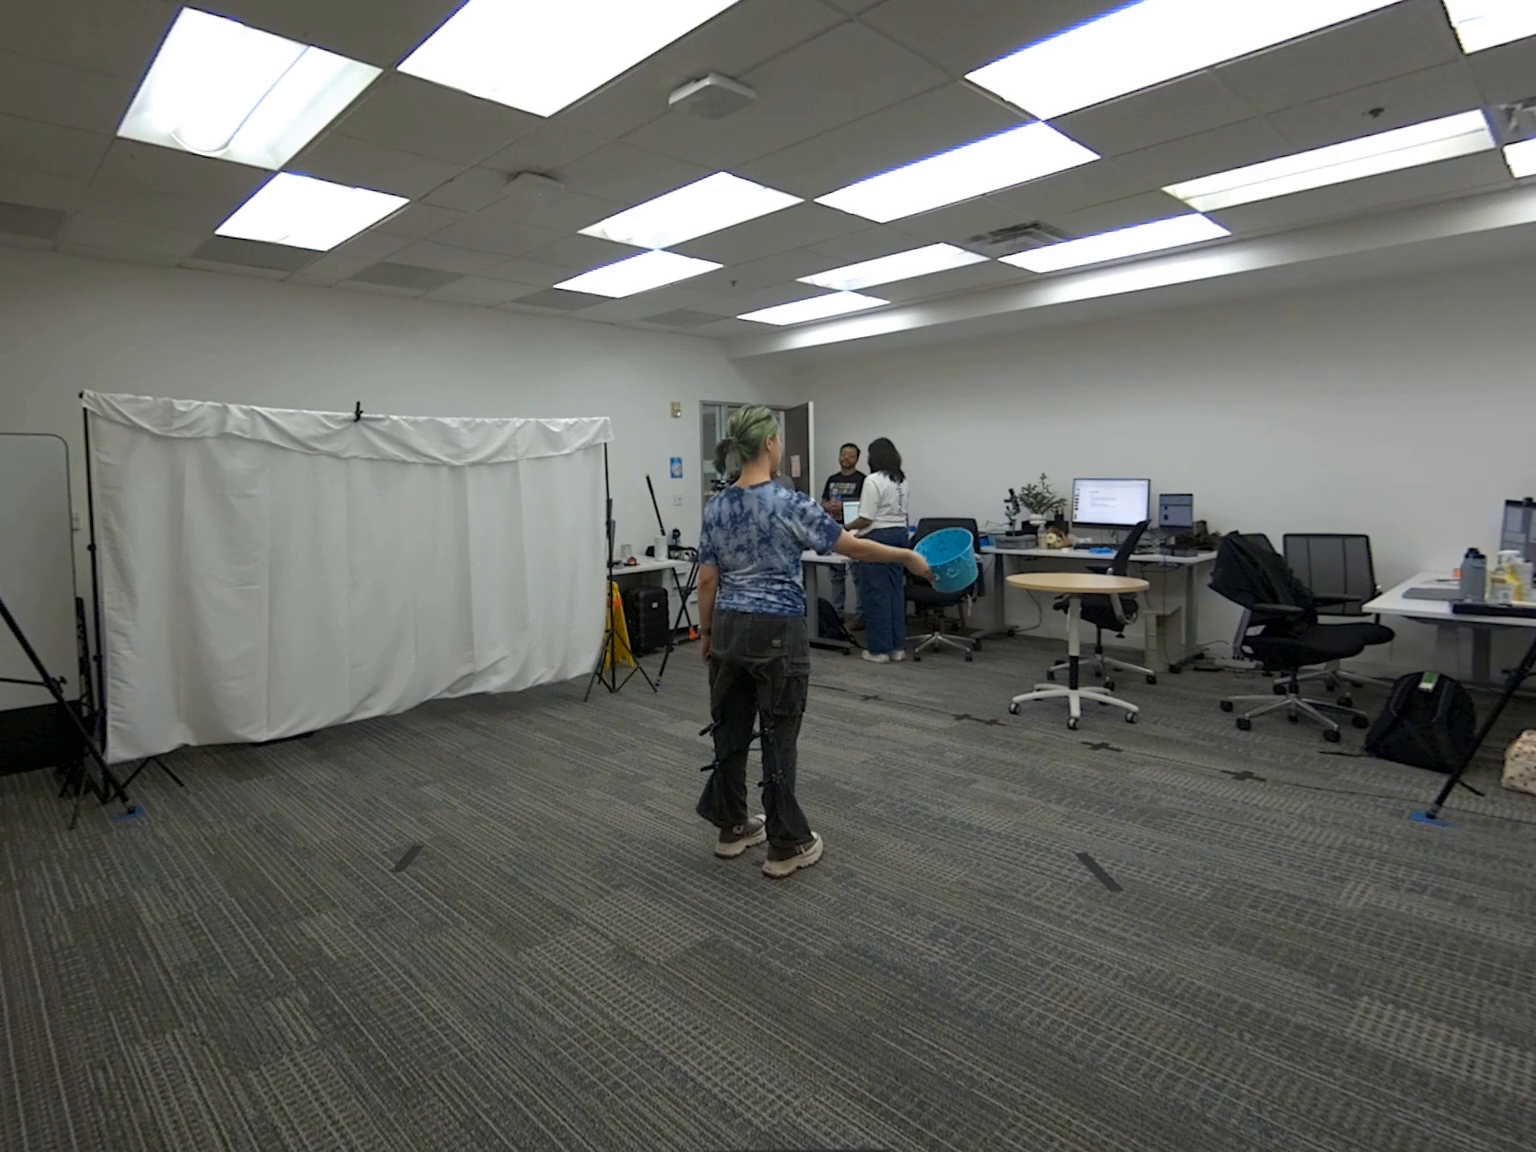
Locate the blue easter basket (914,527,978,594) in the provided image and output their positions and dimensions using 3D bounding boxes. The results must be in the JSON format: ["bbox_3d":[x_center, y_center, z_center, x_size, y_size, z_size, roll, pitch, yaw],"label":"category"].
[{"bbox_3d":[0.692,-0.052,3.254,0.245,0.151,0.249,-22,30,11],"label":"blue easter basket"}]
